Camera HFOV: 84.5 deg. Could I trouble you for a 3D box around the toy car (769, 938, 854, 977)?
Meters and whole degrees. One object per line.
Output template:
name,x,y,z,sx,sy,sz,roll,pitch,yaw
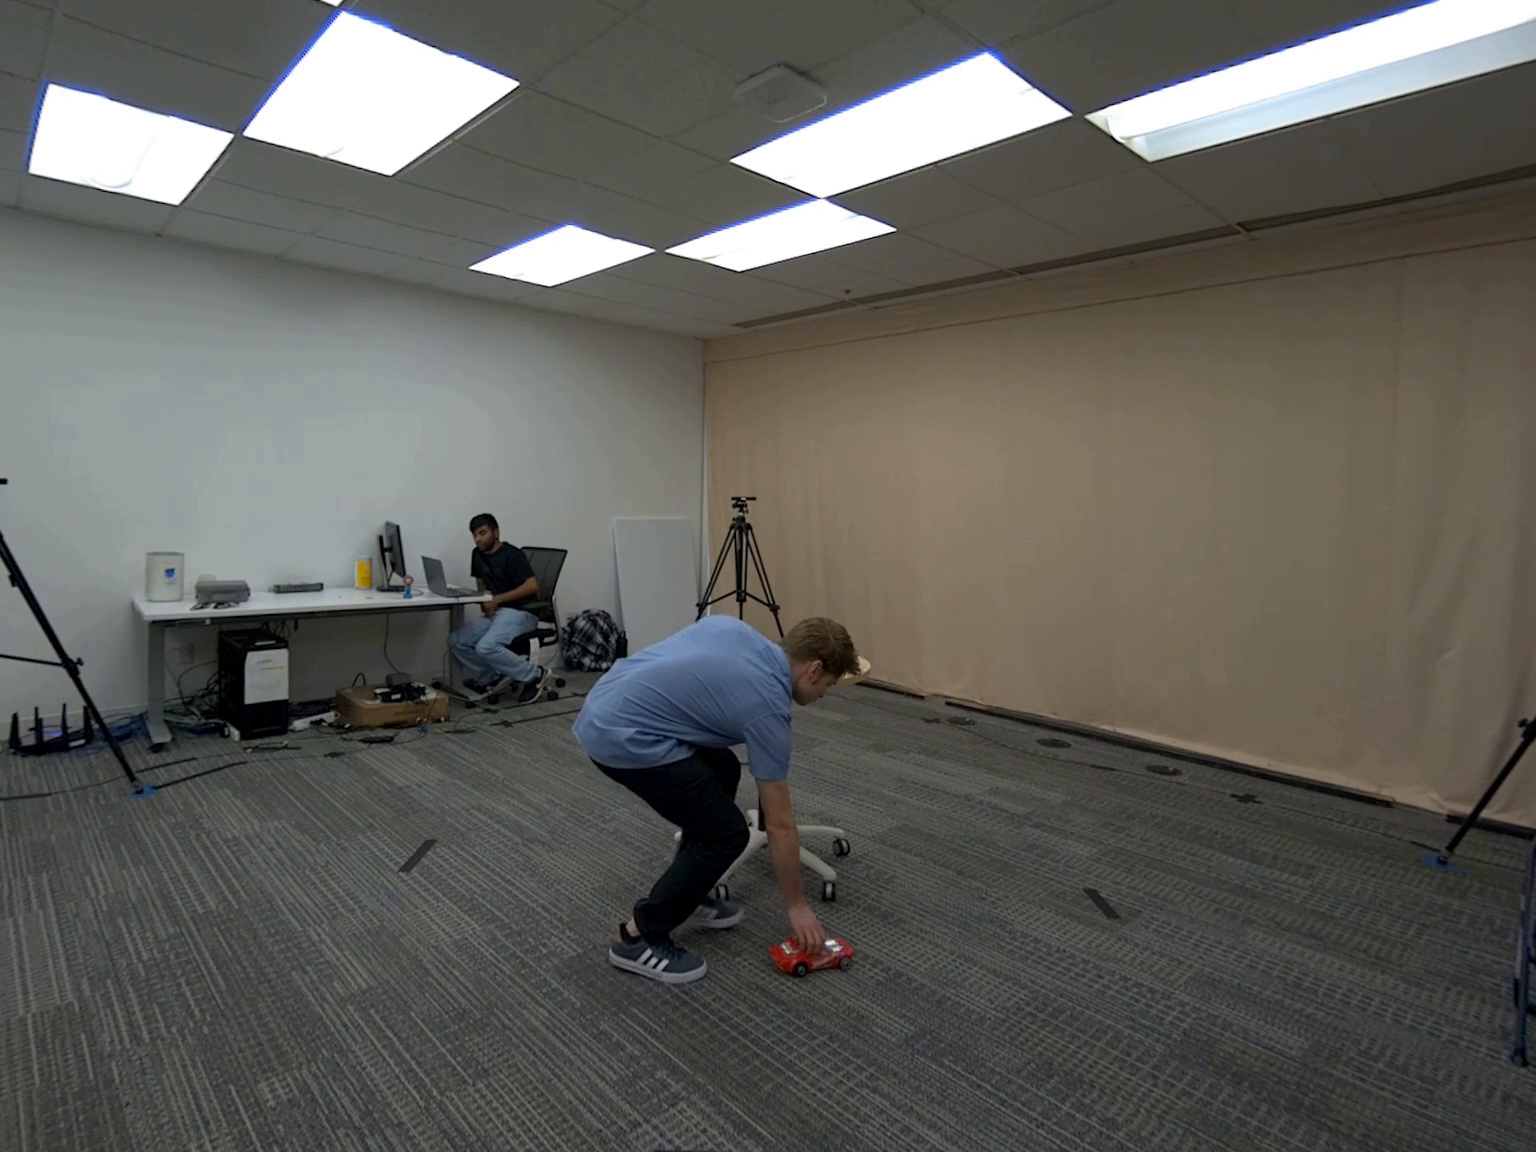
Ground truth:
toy car,0.118,1.139,2.519,0.250,0.083,0.132,11,2,-19
